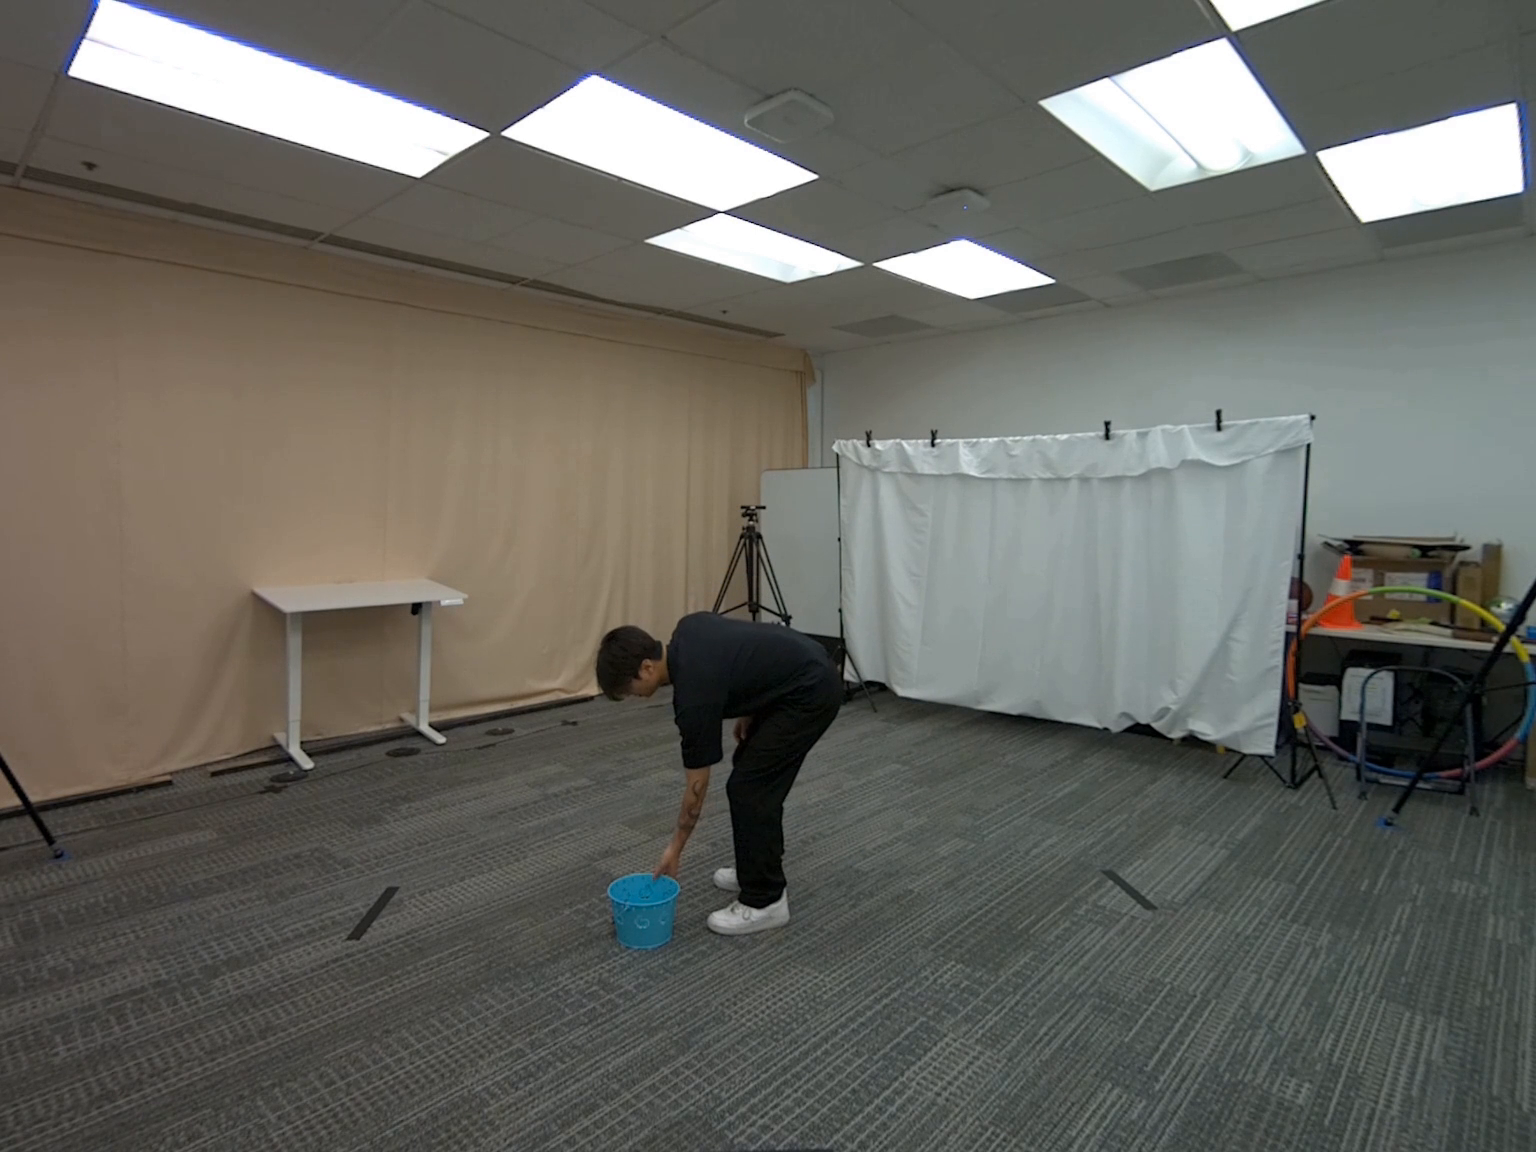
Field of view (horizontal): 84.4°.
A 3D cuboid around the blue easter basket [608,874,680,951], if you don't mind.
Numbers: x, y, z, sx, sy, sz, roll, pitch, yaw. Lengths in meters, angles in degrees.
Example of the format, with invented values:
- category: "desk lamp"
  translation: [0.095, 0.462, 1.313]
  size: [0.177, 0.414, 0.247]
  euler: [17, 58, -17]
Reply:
- category: "blue easter basket"
  translation: [-0.403, 1.094, 2.737]
  size: [0.243, 0.155, 0.244]
  euler: [-1, 4, -2]
